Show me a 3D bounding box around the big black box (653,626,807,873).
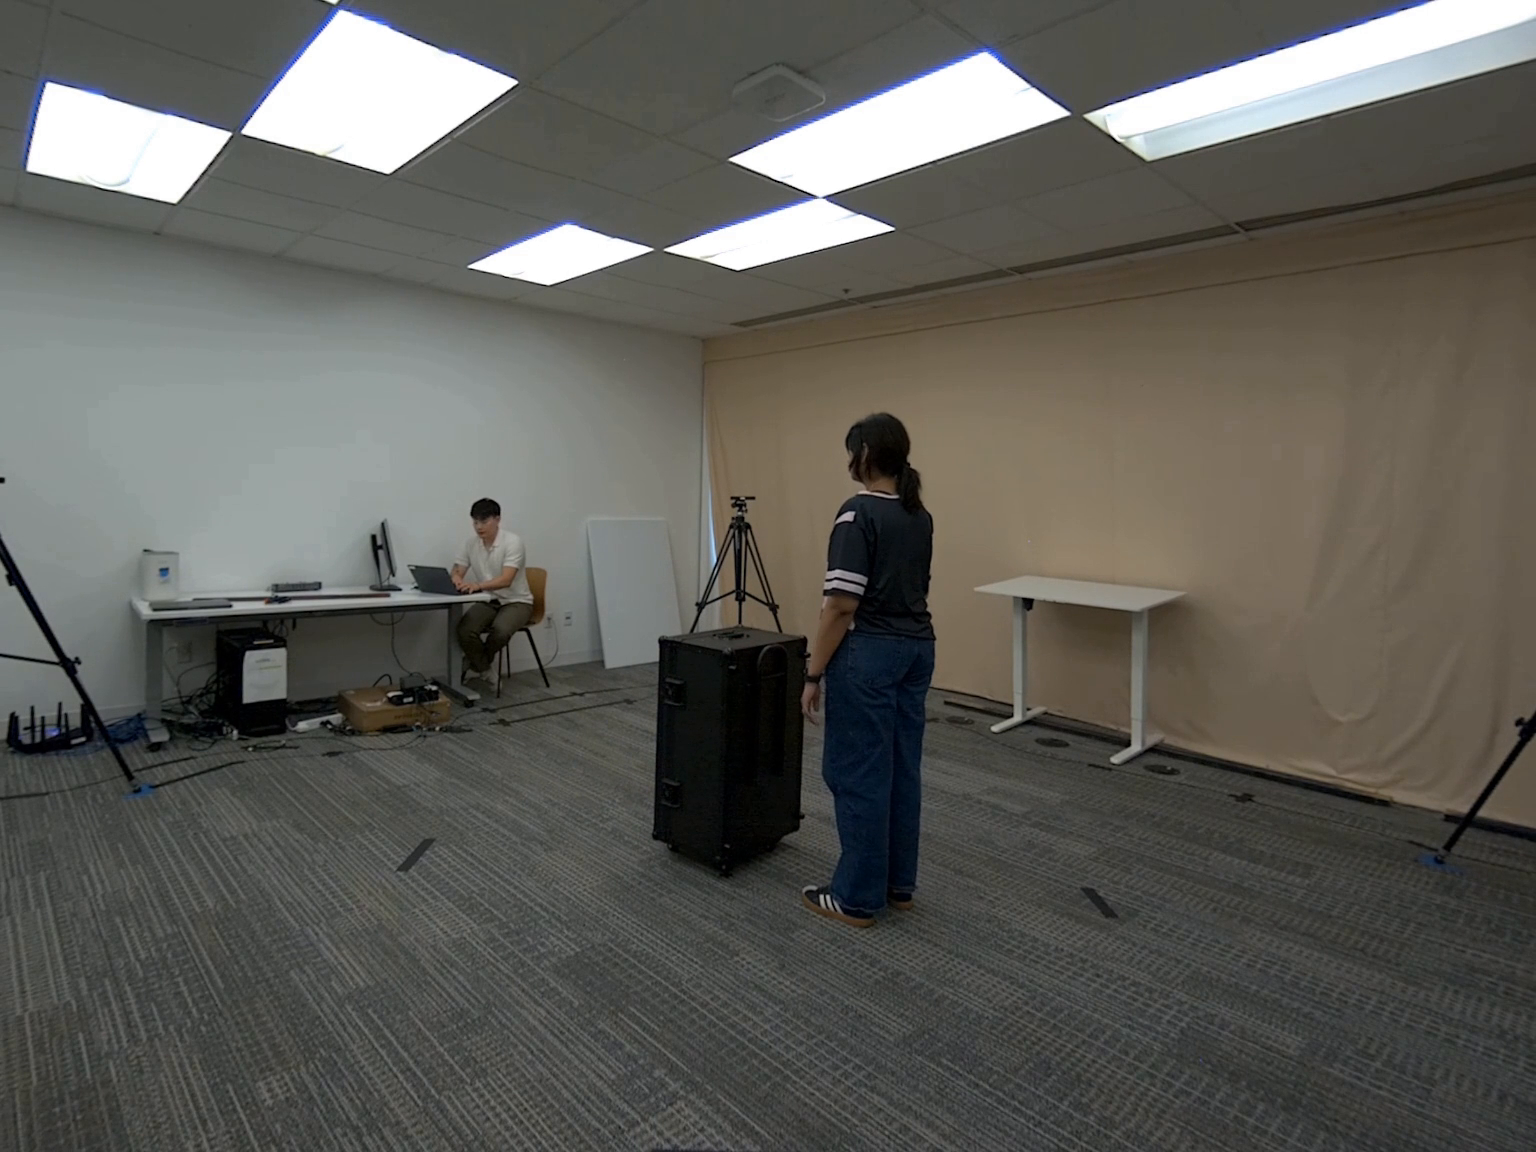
[{"bbox_3d":[-0.142,0.667,3.298,0.395,0.866,0.512,5,5,38],"label":"big black box"}]
